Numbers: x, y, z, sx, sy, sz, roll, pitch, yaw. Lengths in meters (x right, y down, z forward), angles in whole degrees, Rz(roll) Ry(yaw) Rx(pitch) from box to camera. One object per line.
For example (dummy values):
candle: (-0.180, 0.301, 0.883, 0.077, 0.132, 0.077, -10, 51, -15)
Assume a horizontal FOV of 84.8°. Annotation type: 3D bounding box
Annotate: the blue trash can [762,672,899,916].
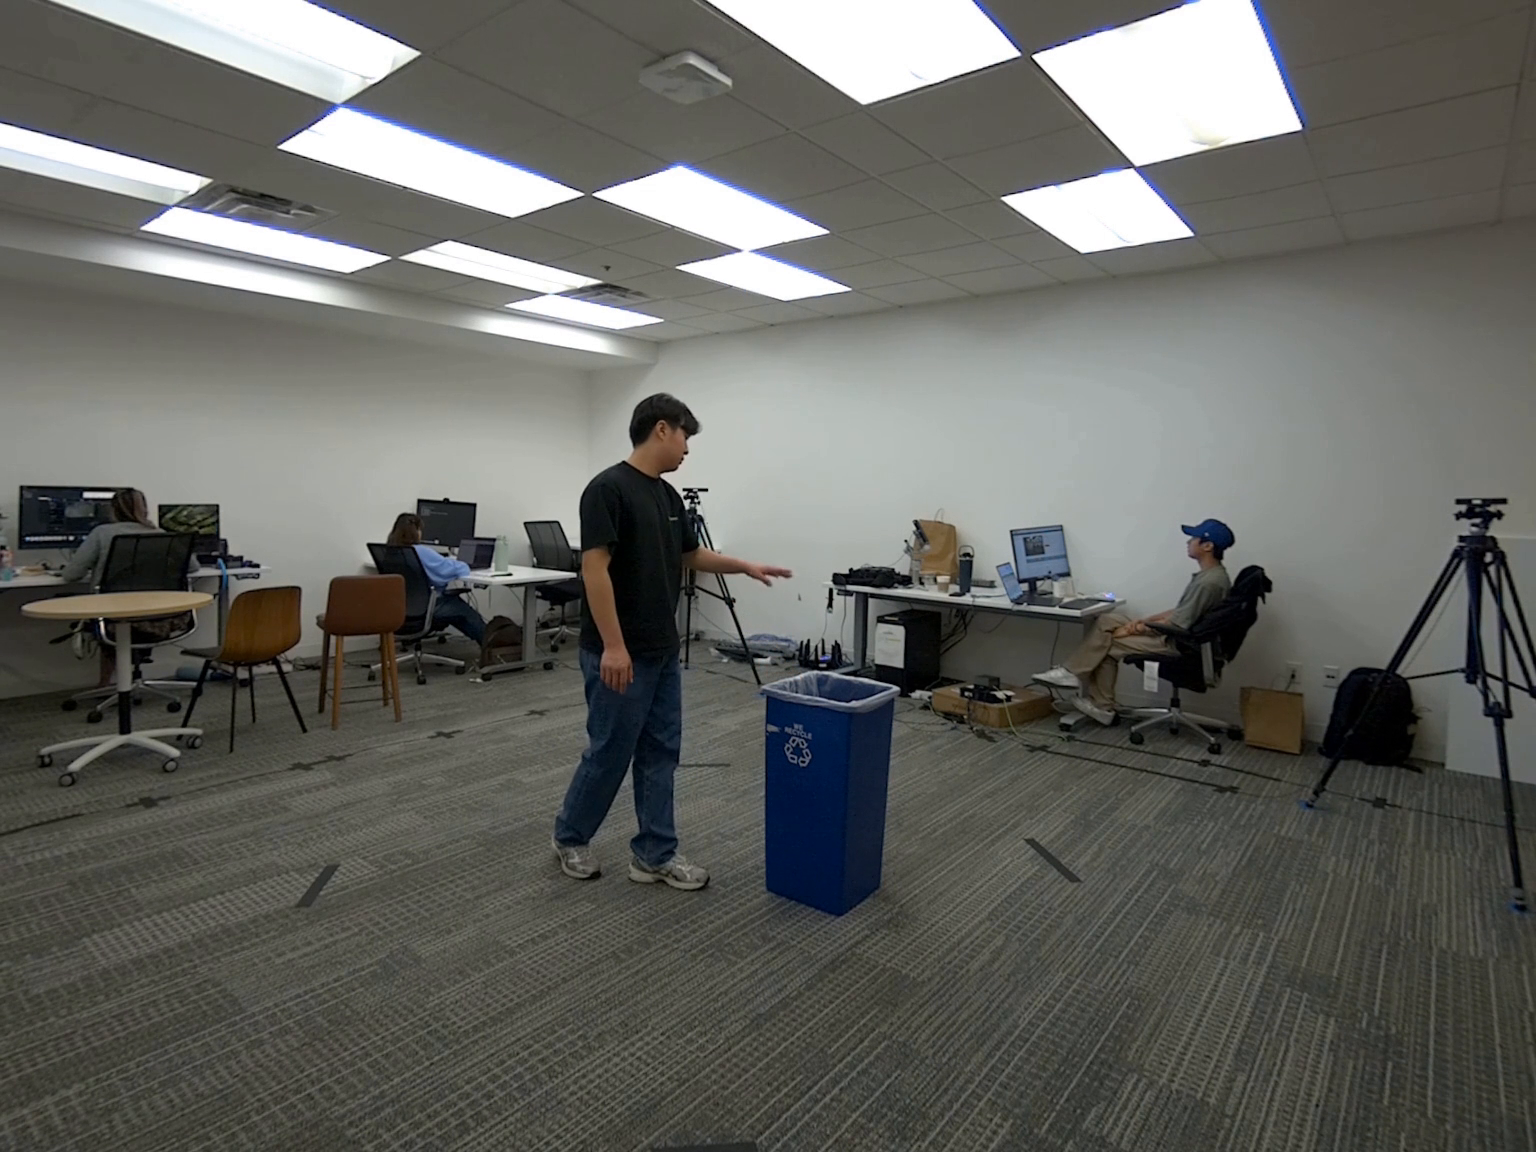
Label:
blue trash can: (0.207, 0.735, 2.964, 0.386, 0.711, 0.367, 4, 4, 35)
